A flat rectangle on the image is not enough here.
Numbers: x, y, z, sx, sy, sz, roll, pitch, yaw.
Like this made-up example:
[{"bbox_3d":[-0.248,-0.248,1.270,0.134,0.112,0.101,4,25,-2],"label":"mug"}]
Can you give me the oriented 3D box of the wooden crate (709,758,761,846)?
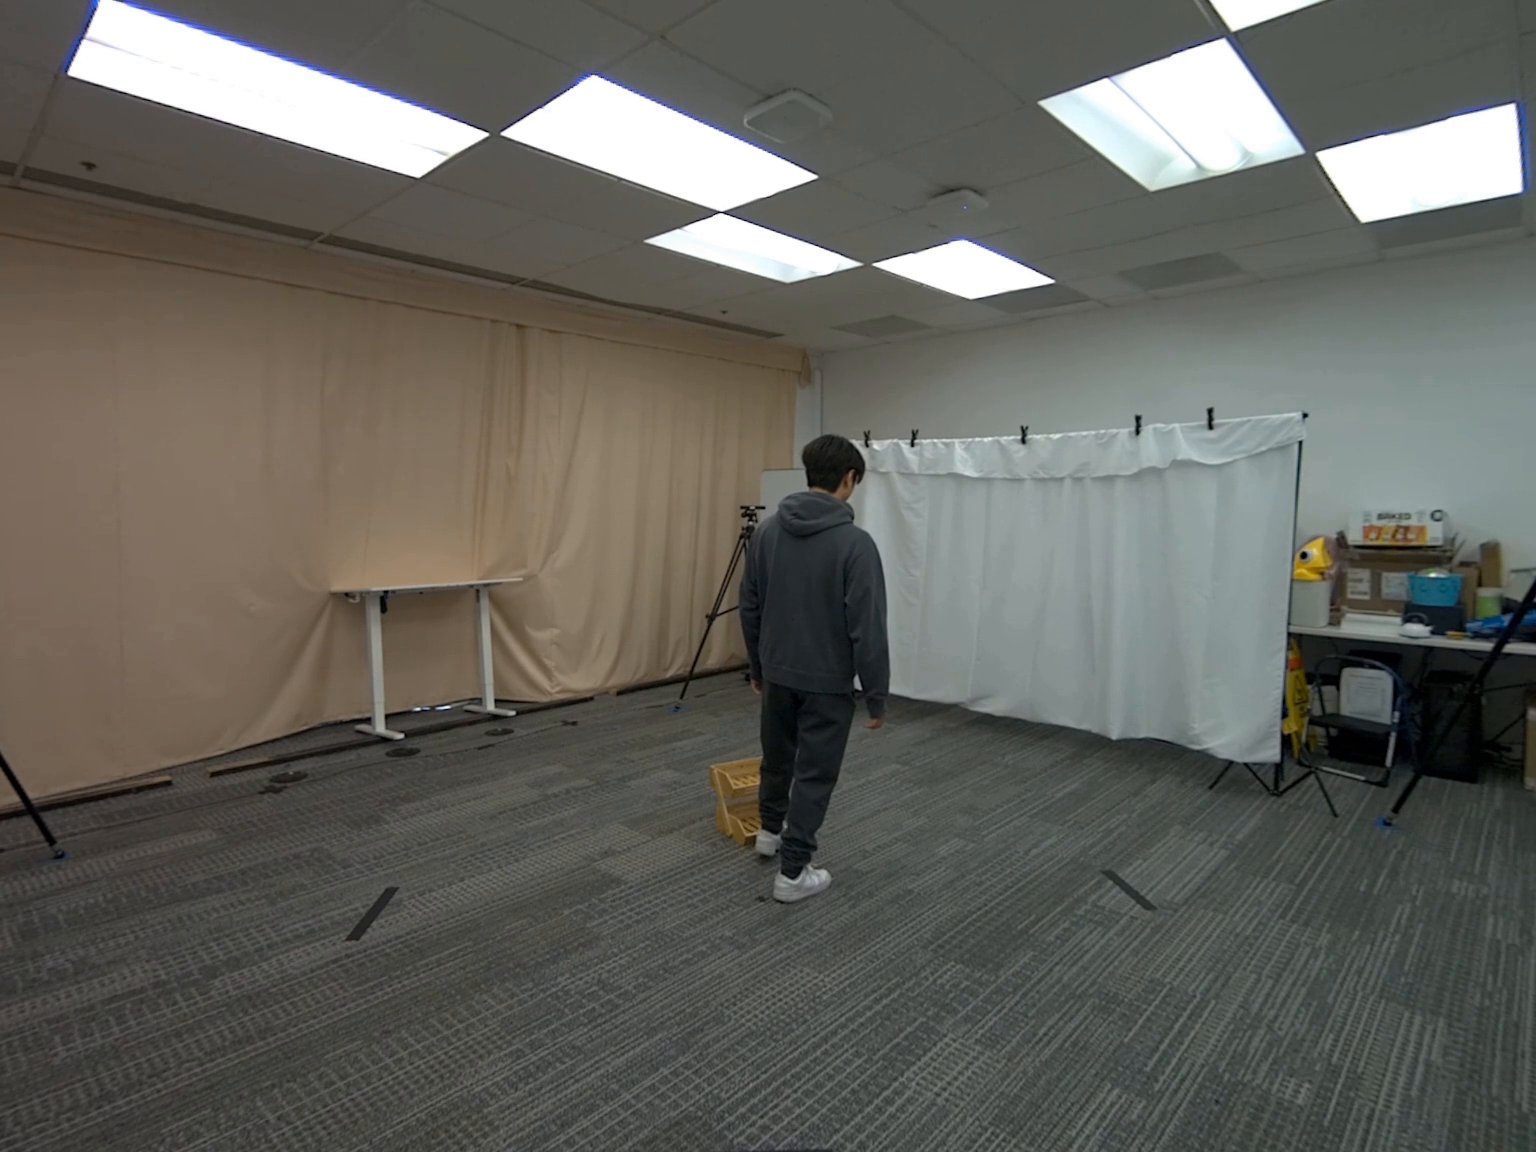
[{"bbox_3d":[-0.043,0.955,3.626,0.316,0.273,0.311,-3,4,-31],"label":"wooden crate"}]
